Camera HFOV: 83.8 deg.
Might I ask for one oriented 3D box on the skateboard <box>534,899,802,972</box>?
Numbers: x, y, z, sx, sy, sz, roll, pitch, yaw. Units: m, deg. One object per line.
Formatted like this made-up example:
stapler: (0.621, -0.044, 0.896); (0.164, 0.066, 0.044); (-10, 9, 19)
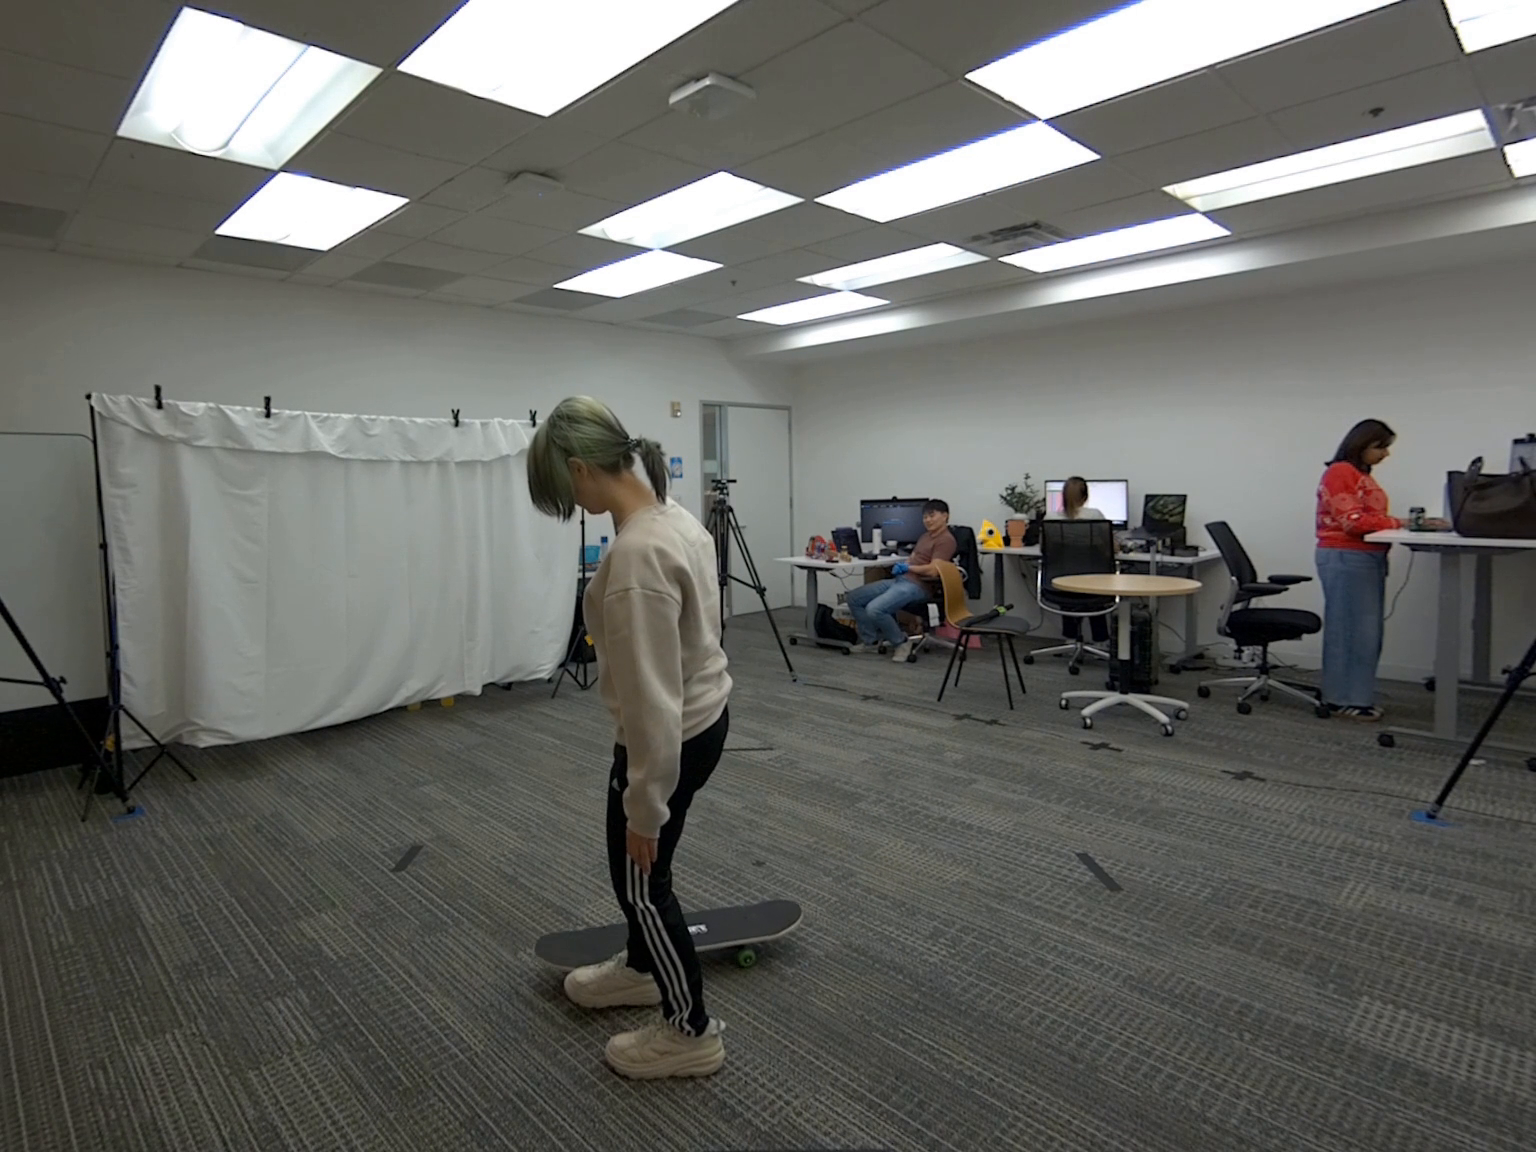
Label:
skateboard: (-0.269, 1.064, 2.480); (0.775, 0.110, 0.197); (-3, 7, -14)
